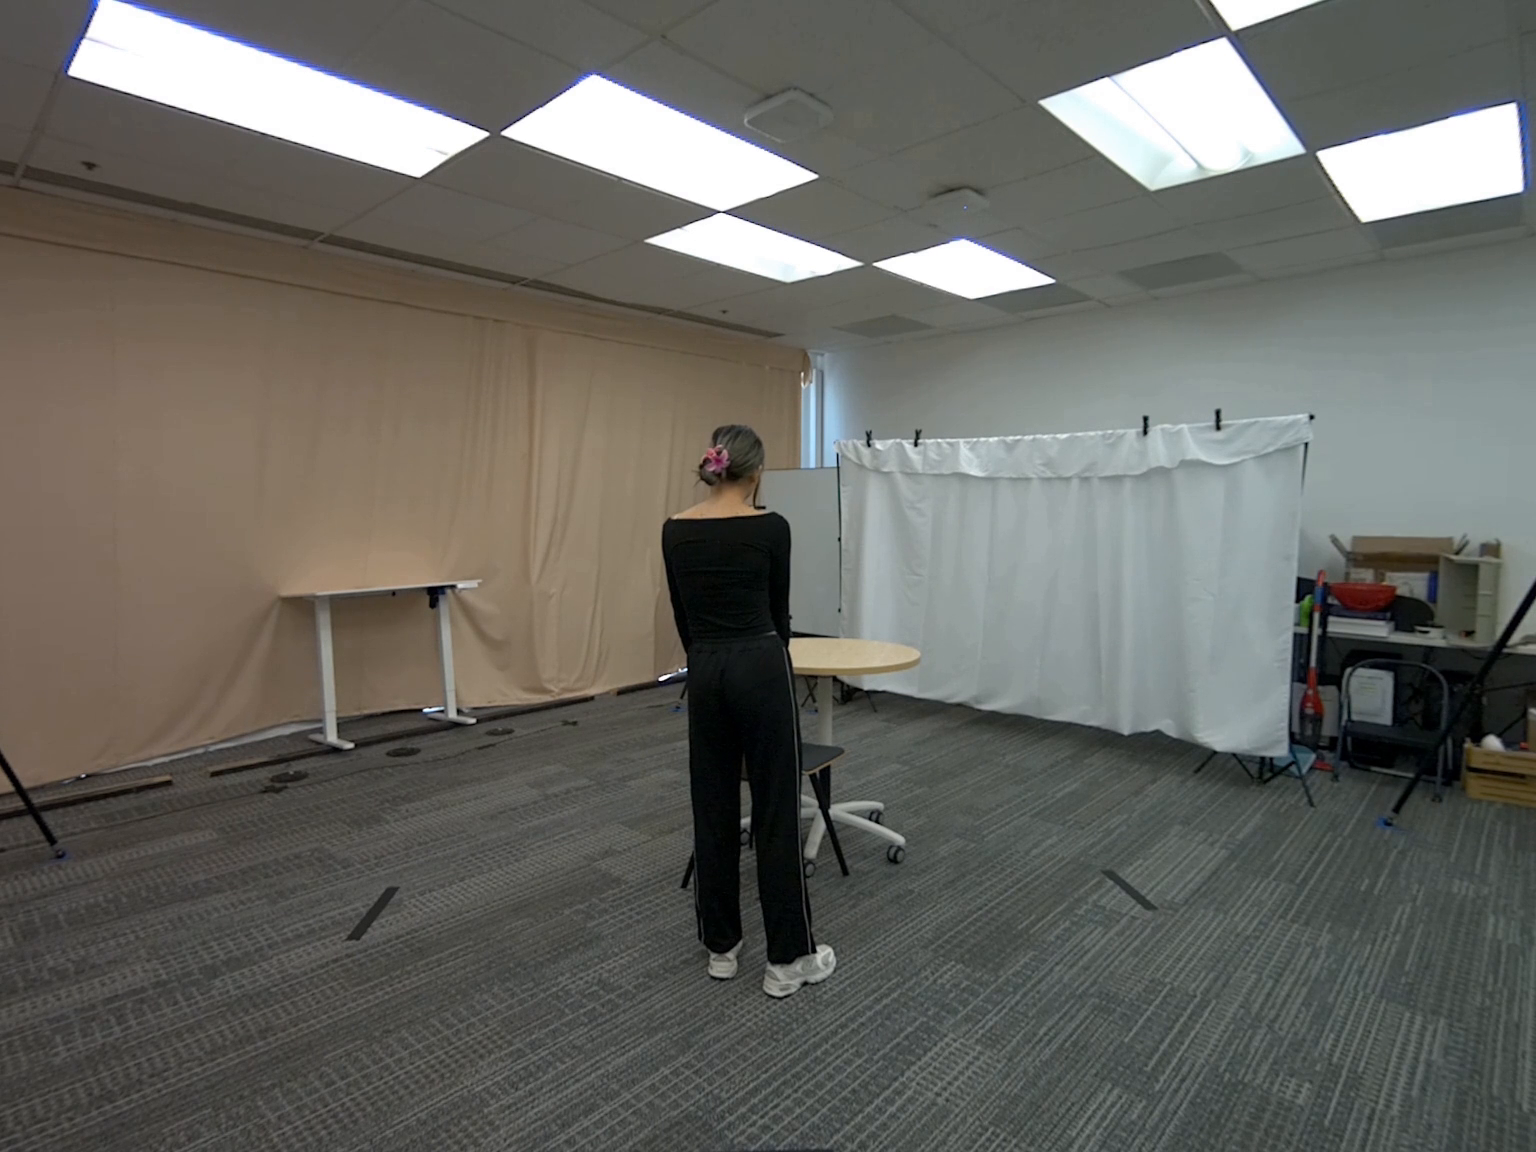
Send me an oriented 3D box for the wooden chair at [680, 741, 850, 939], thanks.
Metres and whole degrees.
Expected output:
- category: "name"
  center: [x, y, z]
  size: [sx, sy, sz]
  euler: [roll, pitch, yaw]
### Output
- category: "wooden chair"
  center: [-0.008, 0.704, 3.087]
  size: [0.493, 0.873, 0.509]
  euler: [2, 8, 36]
